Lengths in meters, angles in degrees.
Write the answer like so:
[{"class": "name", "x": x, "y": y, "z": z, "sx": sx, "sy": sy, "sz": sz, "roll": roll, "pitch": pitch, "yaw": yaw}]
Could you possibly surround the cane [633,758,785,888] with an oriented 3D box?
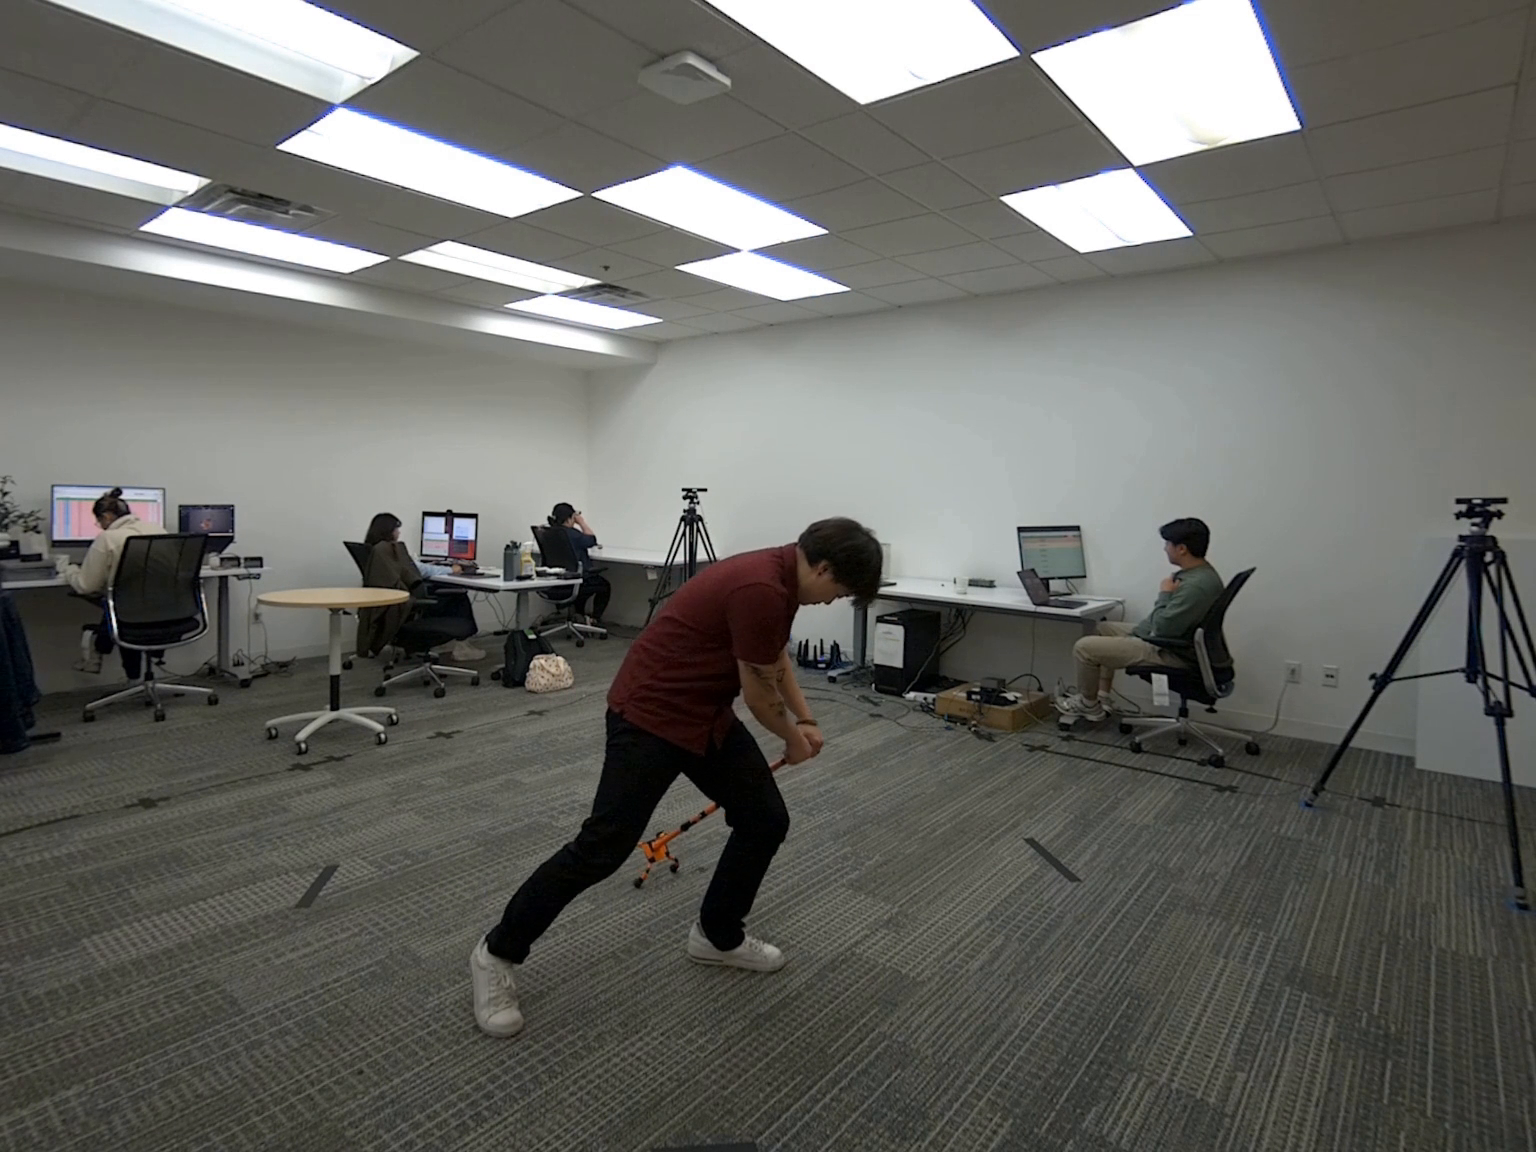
[{"class": "cane", "x": -0.157, "y": 0.755, "z": 2.797, "sx": 0.200, "sy": 0.156, "sz": 0.910, "roll": -2, "pitch": -33, "yaw": -49}]
